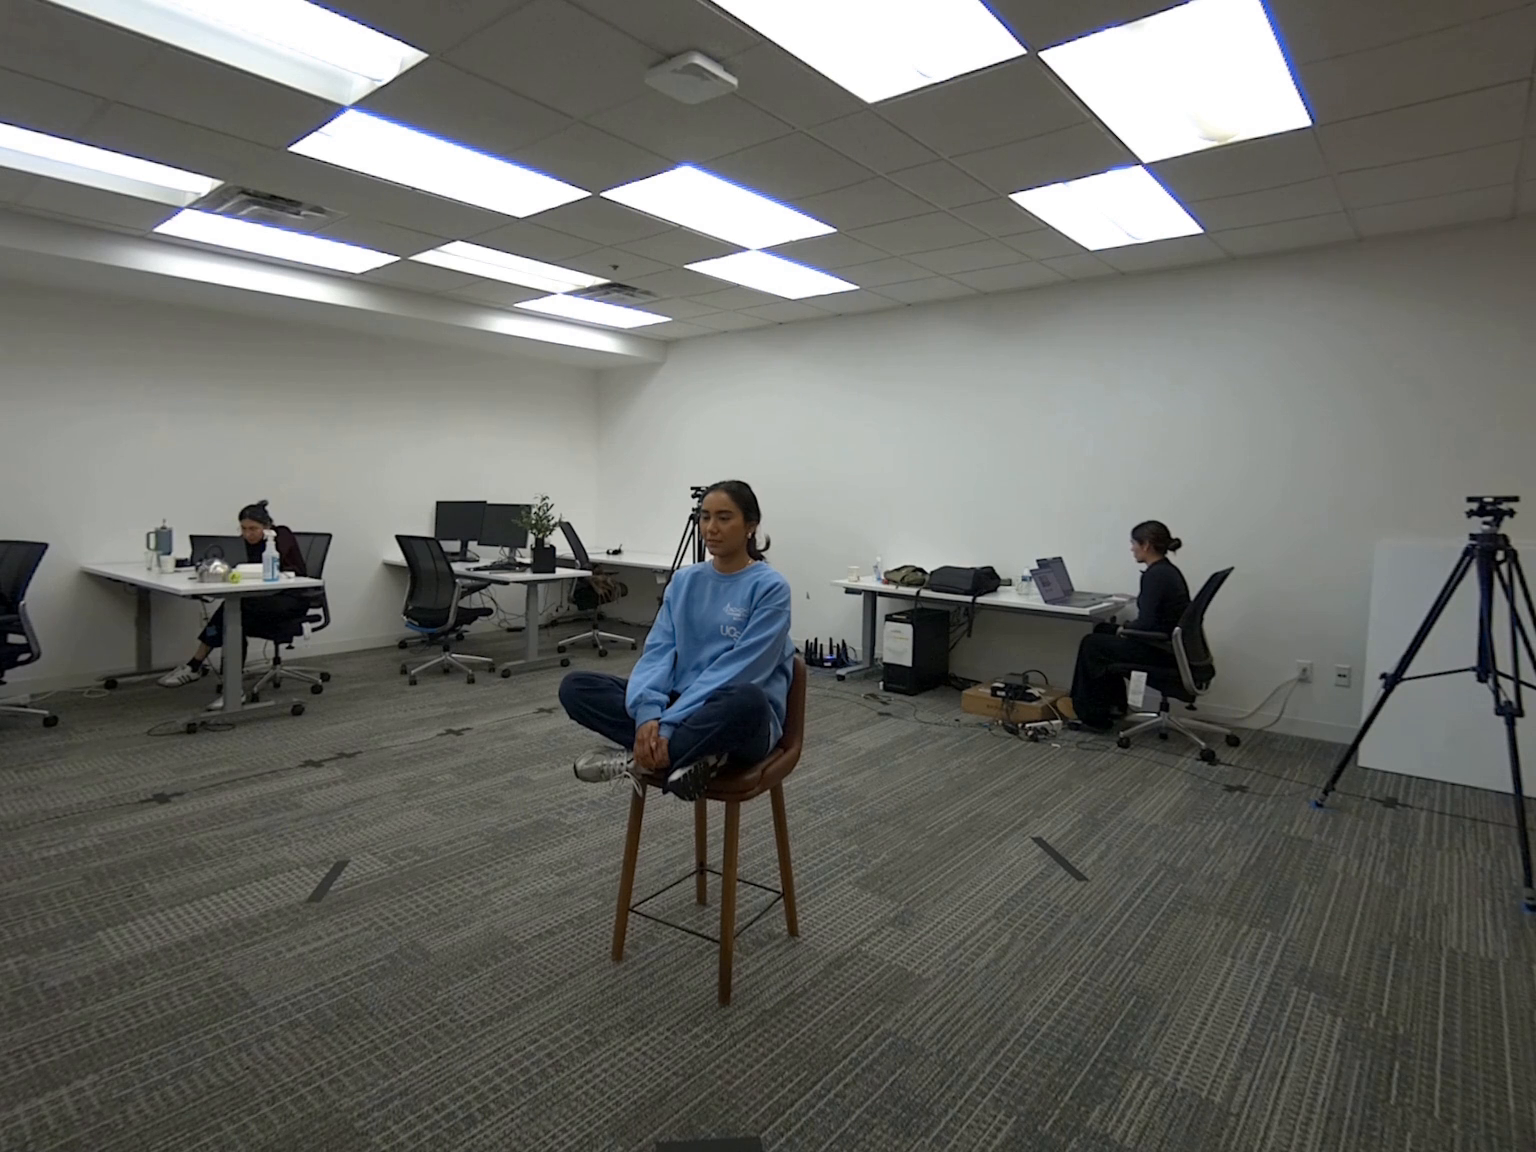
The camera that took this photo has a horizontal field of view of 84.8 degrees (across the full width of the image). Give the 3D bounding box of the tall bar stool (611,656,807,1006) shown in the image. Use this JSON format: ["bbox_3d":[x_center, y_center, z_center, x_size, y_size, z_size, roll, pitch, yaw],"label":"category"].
[{"bbox_3d":[-0.169,0.686,2.557,0.470,0.888,0.454,4,2,32],"label":"tall bar stool"}]
